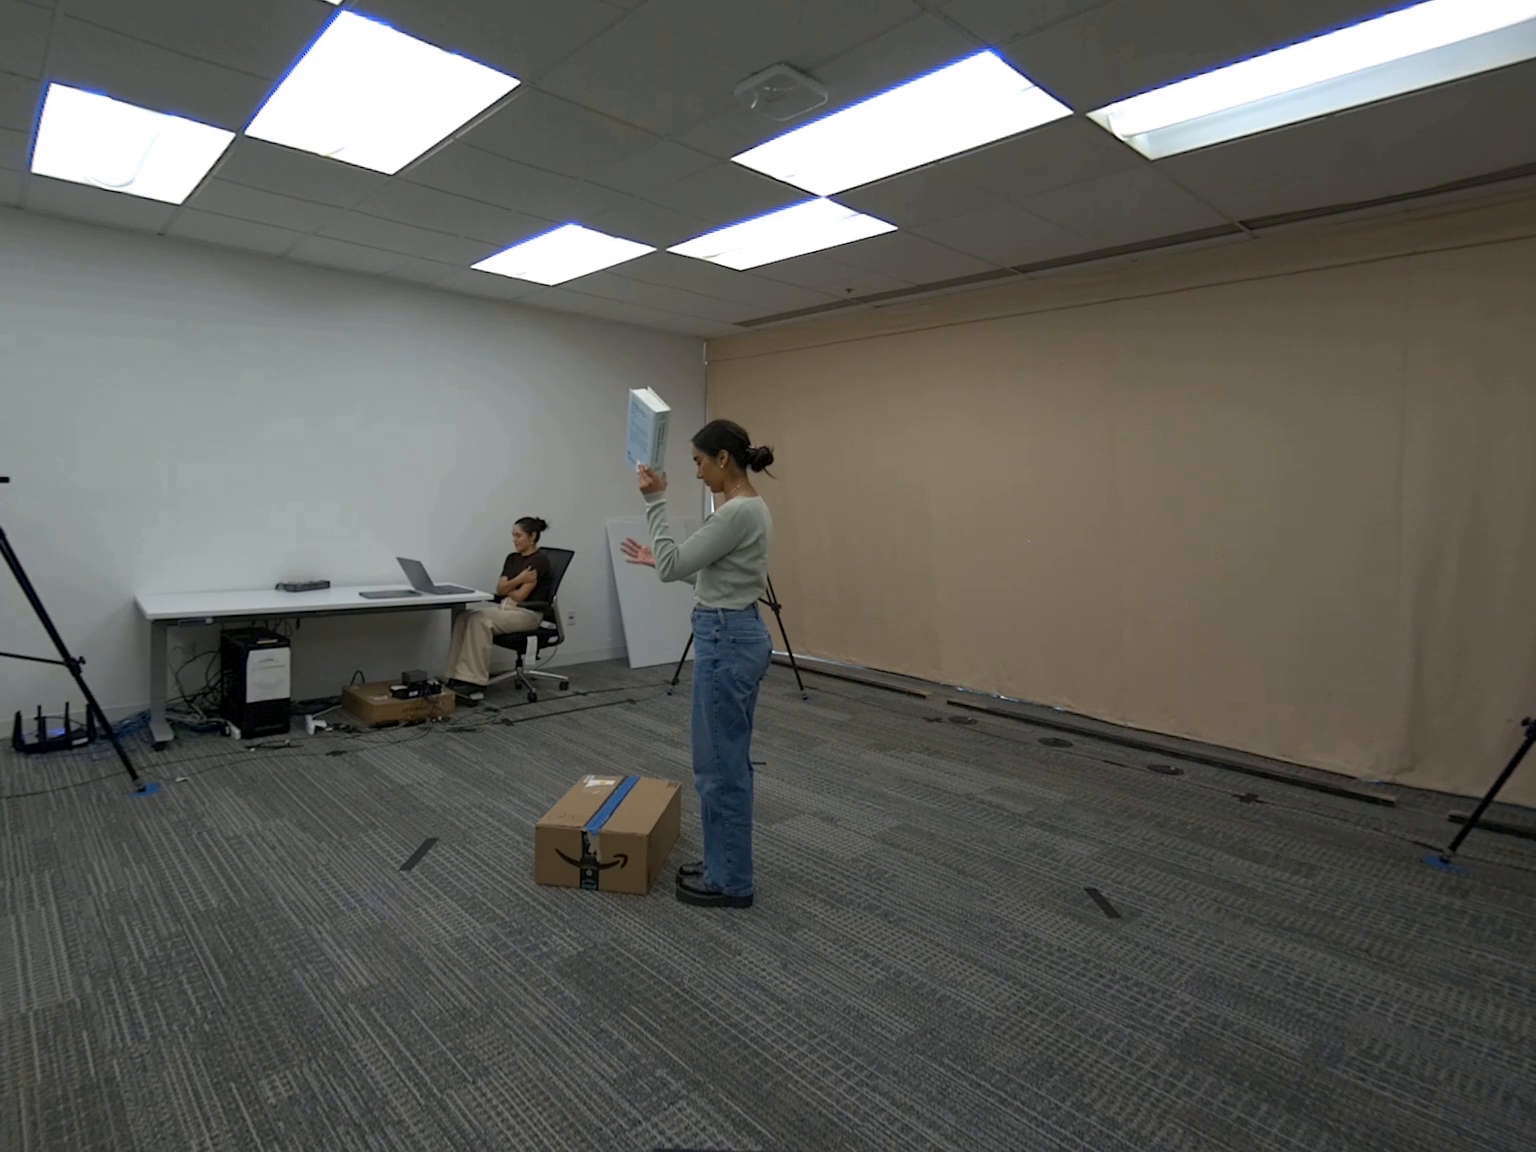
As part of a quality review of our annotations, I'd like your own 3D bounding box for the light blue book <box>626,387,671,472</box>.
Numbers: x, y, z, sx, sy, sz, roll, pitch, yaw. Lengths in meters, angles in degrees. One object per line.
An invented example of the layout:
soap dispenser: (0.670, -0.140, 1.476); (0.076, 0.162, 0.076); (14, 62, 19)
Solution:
light blue book: (-0.398, -0.456, 2.745); (0.058, 0.257, 0.197); (-10, 38, -30)
